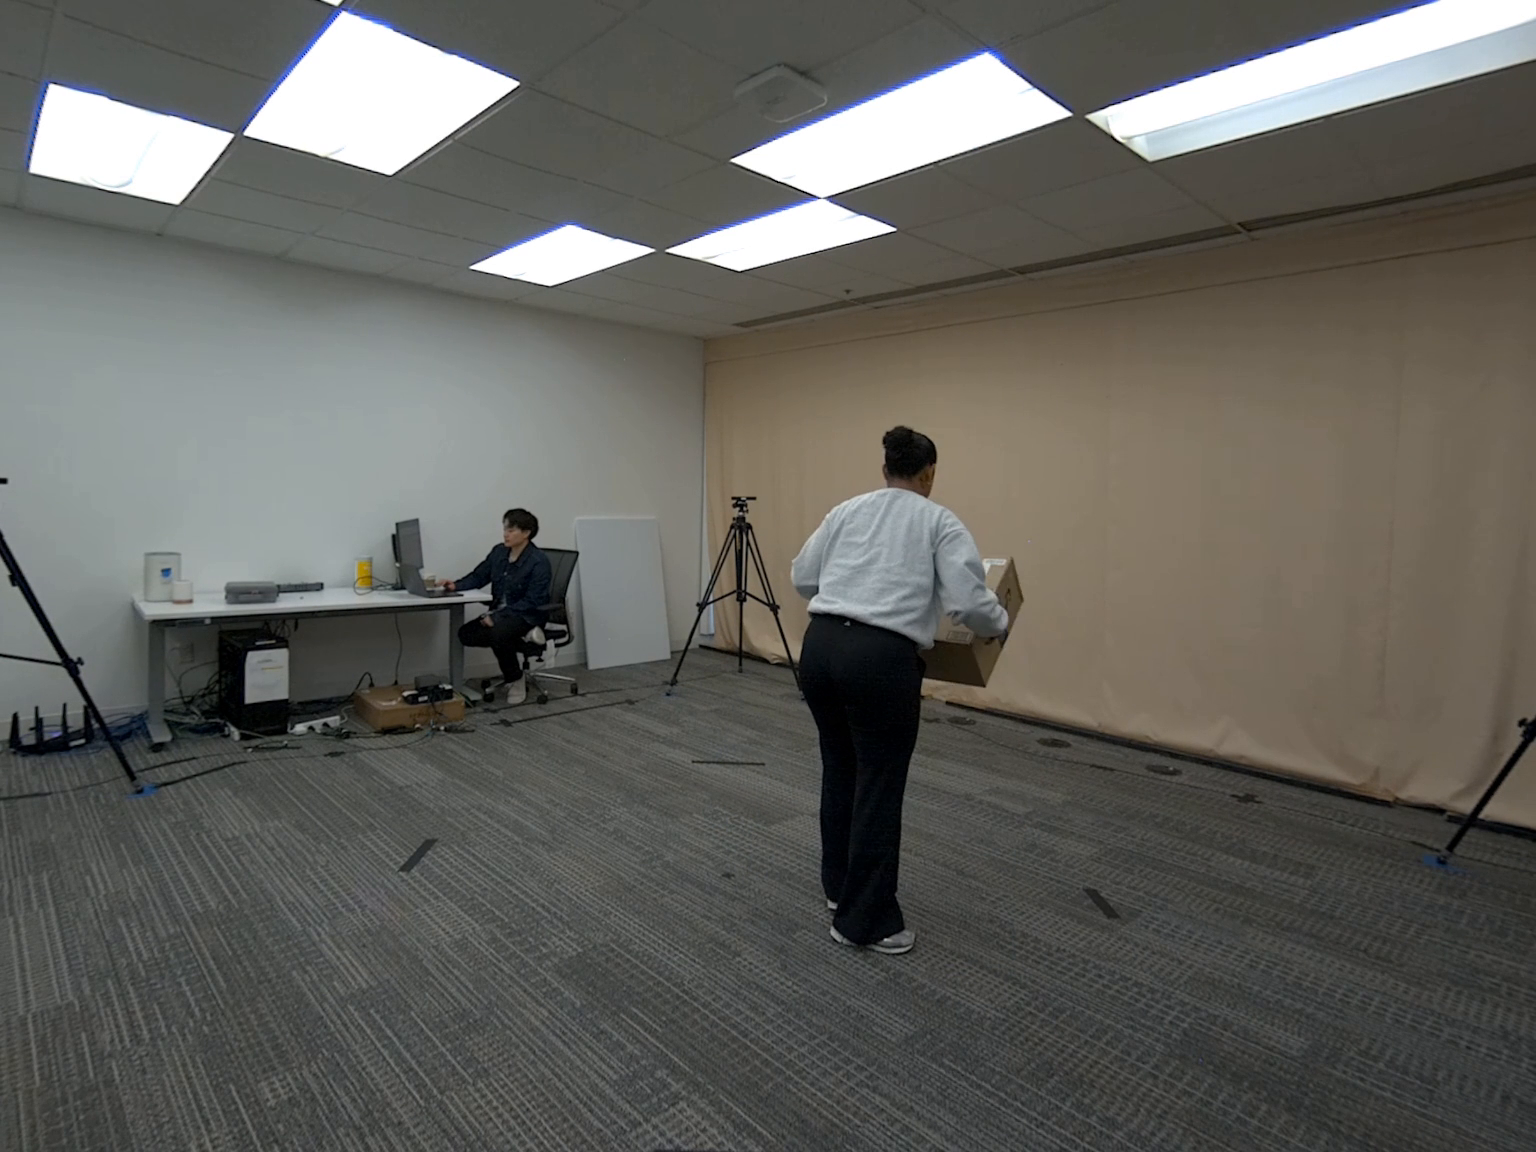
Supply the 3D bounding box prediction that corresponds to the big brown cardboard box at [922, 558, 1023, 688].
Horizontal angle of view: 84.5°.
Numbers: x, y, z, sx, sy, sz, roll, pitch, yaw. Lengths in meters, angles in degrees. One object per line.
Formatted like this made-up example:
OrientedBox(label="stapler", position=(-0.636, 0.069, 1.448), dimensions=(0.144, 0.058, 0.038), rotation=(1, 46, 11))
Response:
OrientedBox(label="big brown cardboard box", position=(0.543, 0.135, 2.981), dimensions=(0.603, 0.227, 0.419), rotation=(4, 44, 38))
